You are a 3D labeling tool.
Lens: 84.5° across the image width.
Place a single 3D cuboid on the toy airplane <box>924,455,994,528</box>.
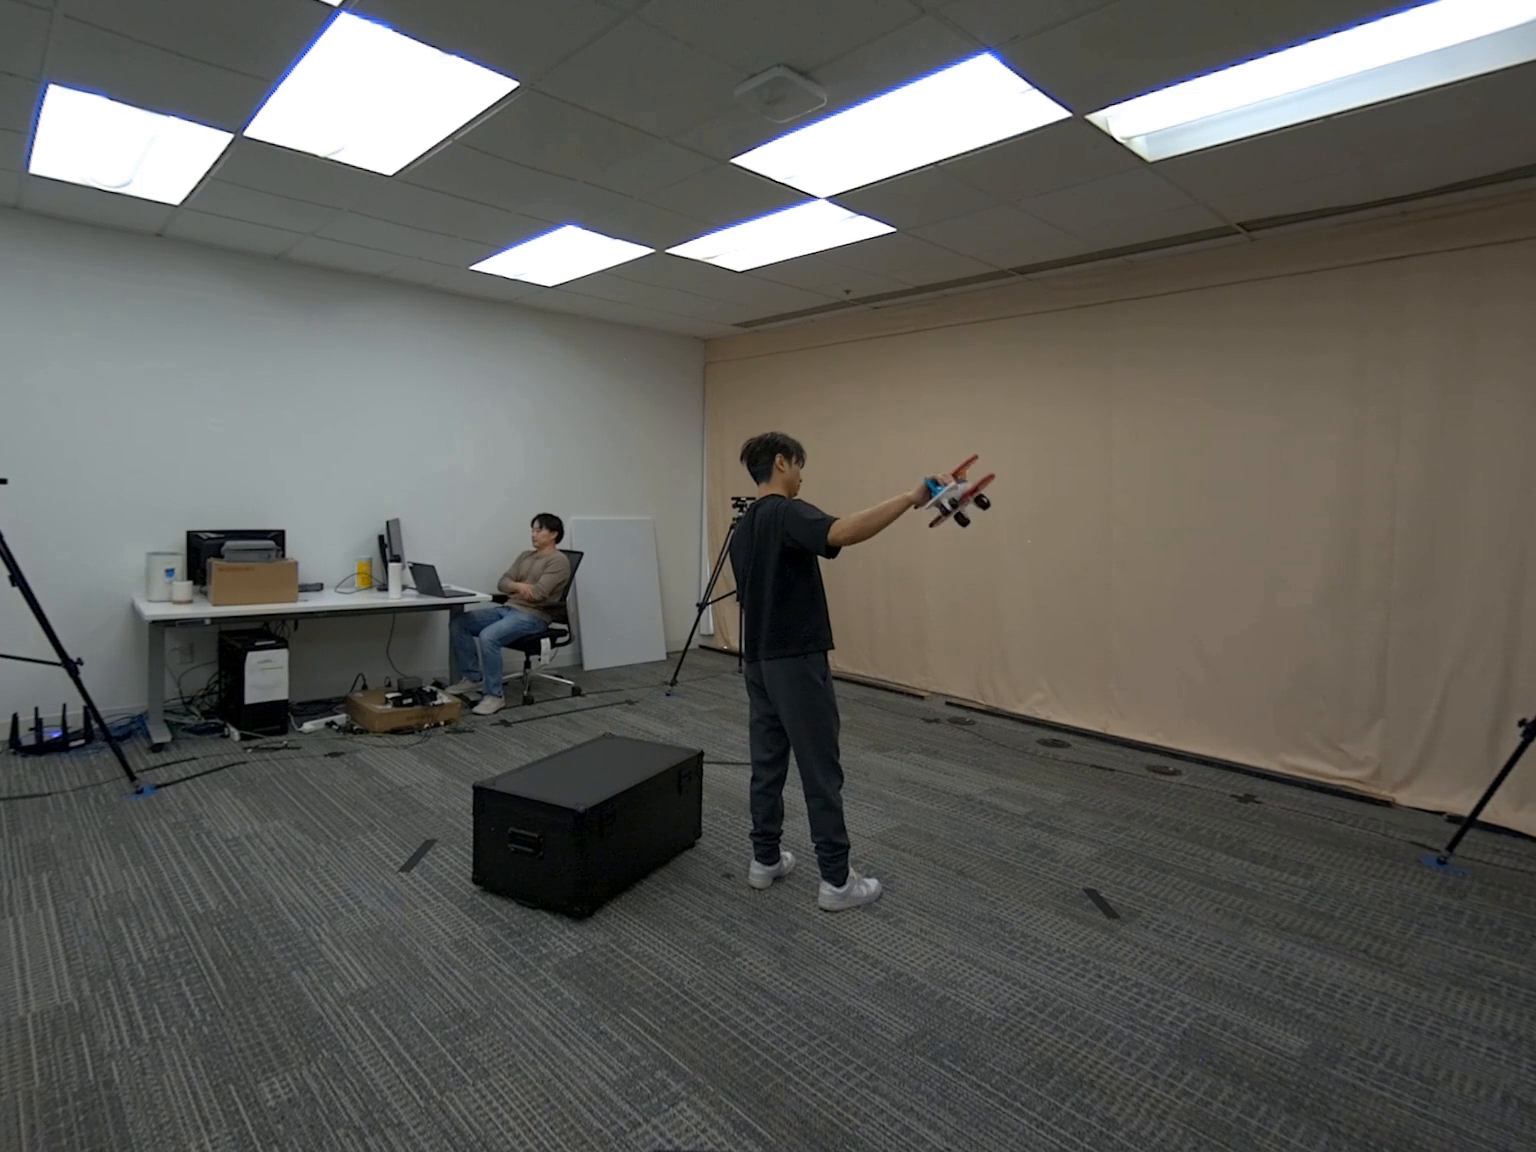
[{"bbox_3d":[0.573,-0.264,2.599,0.251,0.160,0.253,-31,-25,1],"label":"toy airplane"}]
